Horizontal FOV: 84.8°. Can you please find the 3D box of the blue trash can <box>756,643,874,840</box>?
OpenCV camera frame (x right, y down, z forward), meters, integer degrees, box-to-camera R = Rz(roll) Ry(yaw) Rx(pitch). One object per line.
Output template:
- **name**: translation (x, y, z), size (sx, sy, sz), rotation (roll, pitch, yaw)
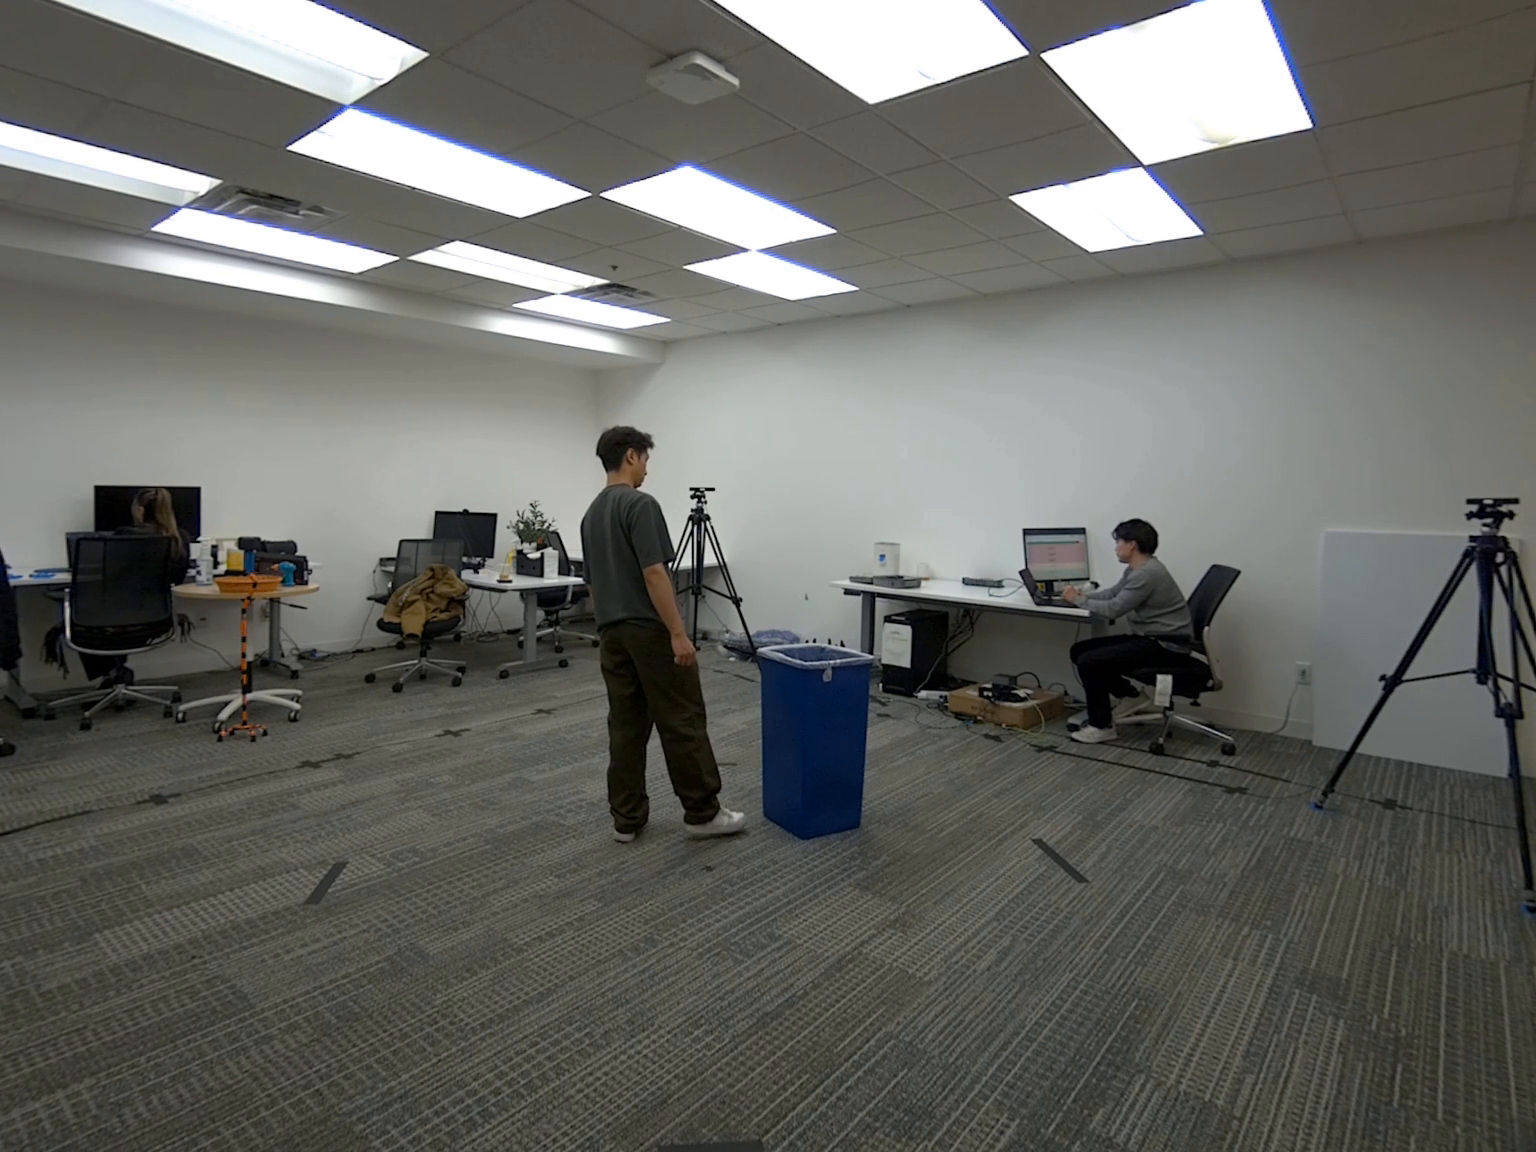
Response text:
- **blue trash can**: translation (0.177, 0.674, 3.557), size (0.363, 0.712, 0.390), rotation (1, 3, -35)
